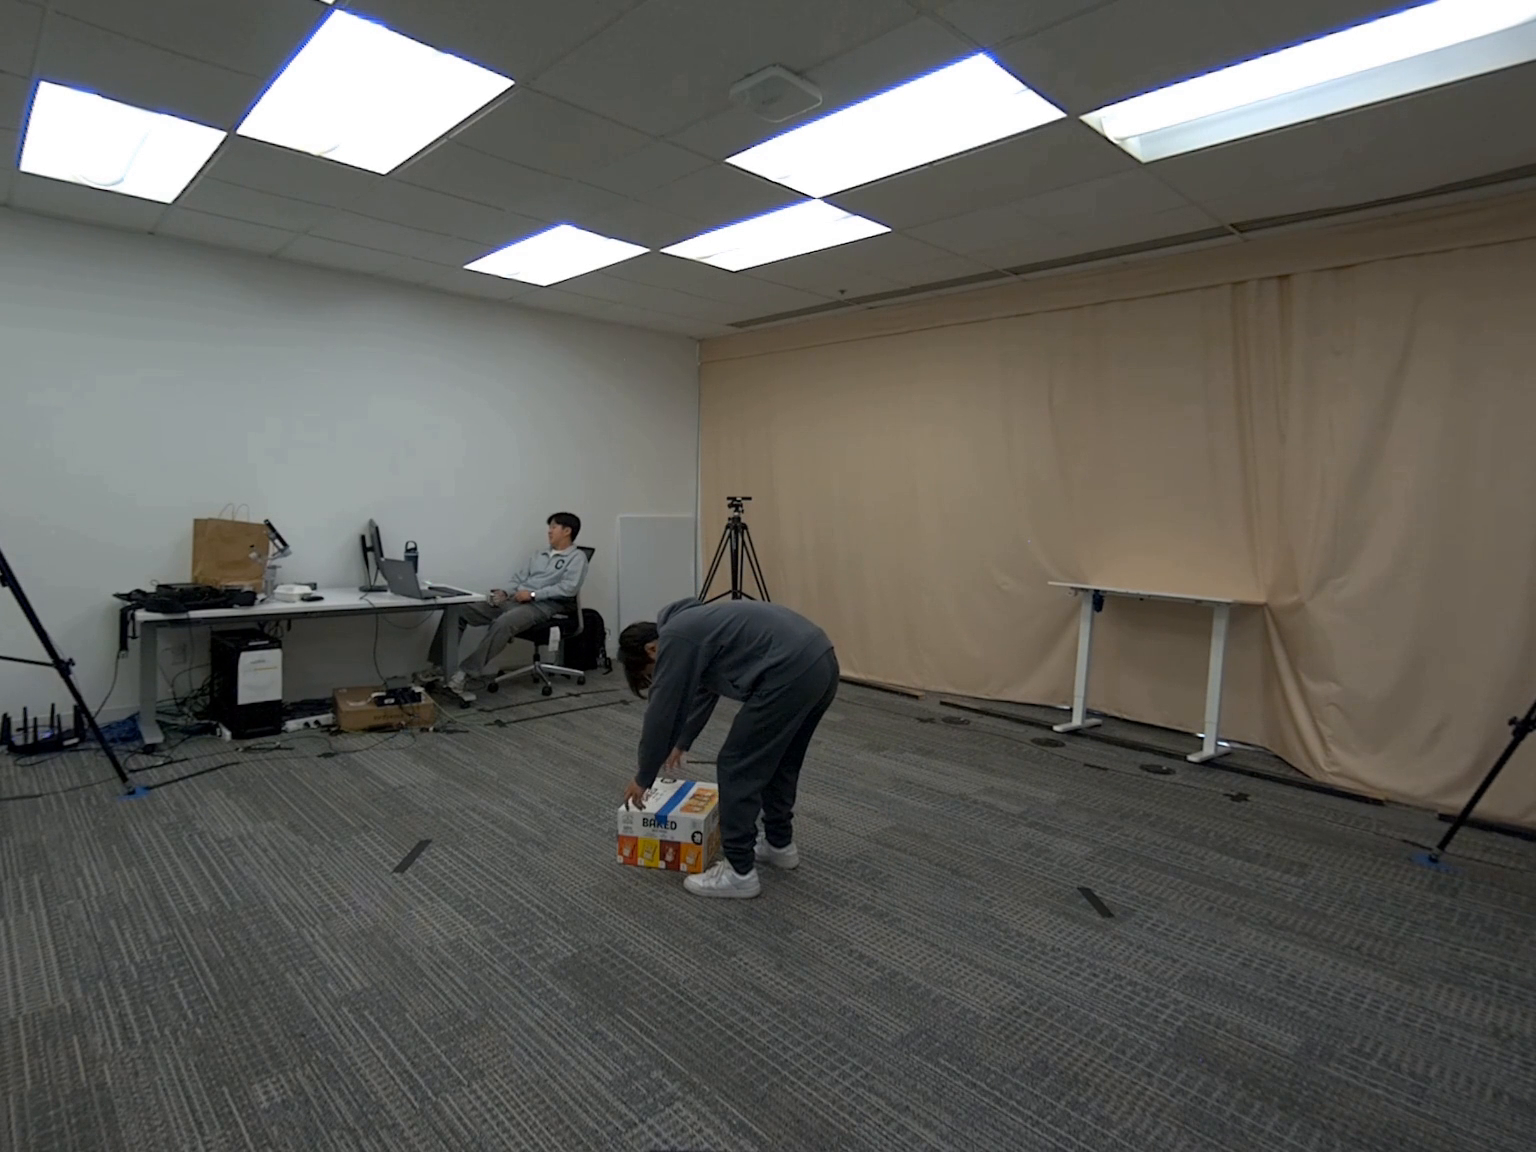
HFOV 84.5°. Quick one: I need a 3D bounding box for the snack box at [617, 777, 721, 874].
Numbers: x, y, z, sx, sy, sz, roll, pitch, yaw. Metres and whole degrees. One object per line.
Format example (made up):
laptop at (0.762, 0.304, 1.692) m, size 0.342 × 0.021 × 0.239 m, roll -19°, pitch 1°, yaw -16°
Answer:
snack box at (-0.375, 0.978, 3.338) m, size 0.344 × 0.205 × 0.402 m, roll 3°, pitch 5°, yaw 12°
